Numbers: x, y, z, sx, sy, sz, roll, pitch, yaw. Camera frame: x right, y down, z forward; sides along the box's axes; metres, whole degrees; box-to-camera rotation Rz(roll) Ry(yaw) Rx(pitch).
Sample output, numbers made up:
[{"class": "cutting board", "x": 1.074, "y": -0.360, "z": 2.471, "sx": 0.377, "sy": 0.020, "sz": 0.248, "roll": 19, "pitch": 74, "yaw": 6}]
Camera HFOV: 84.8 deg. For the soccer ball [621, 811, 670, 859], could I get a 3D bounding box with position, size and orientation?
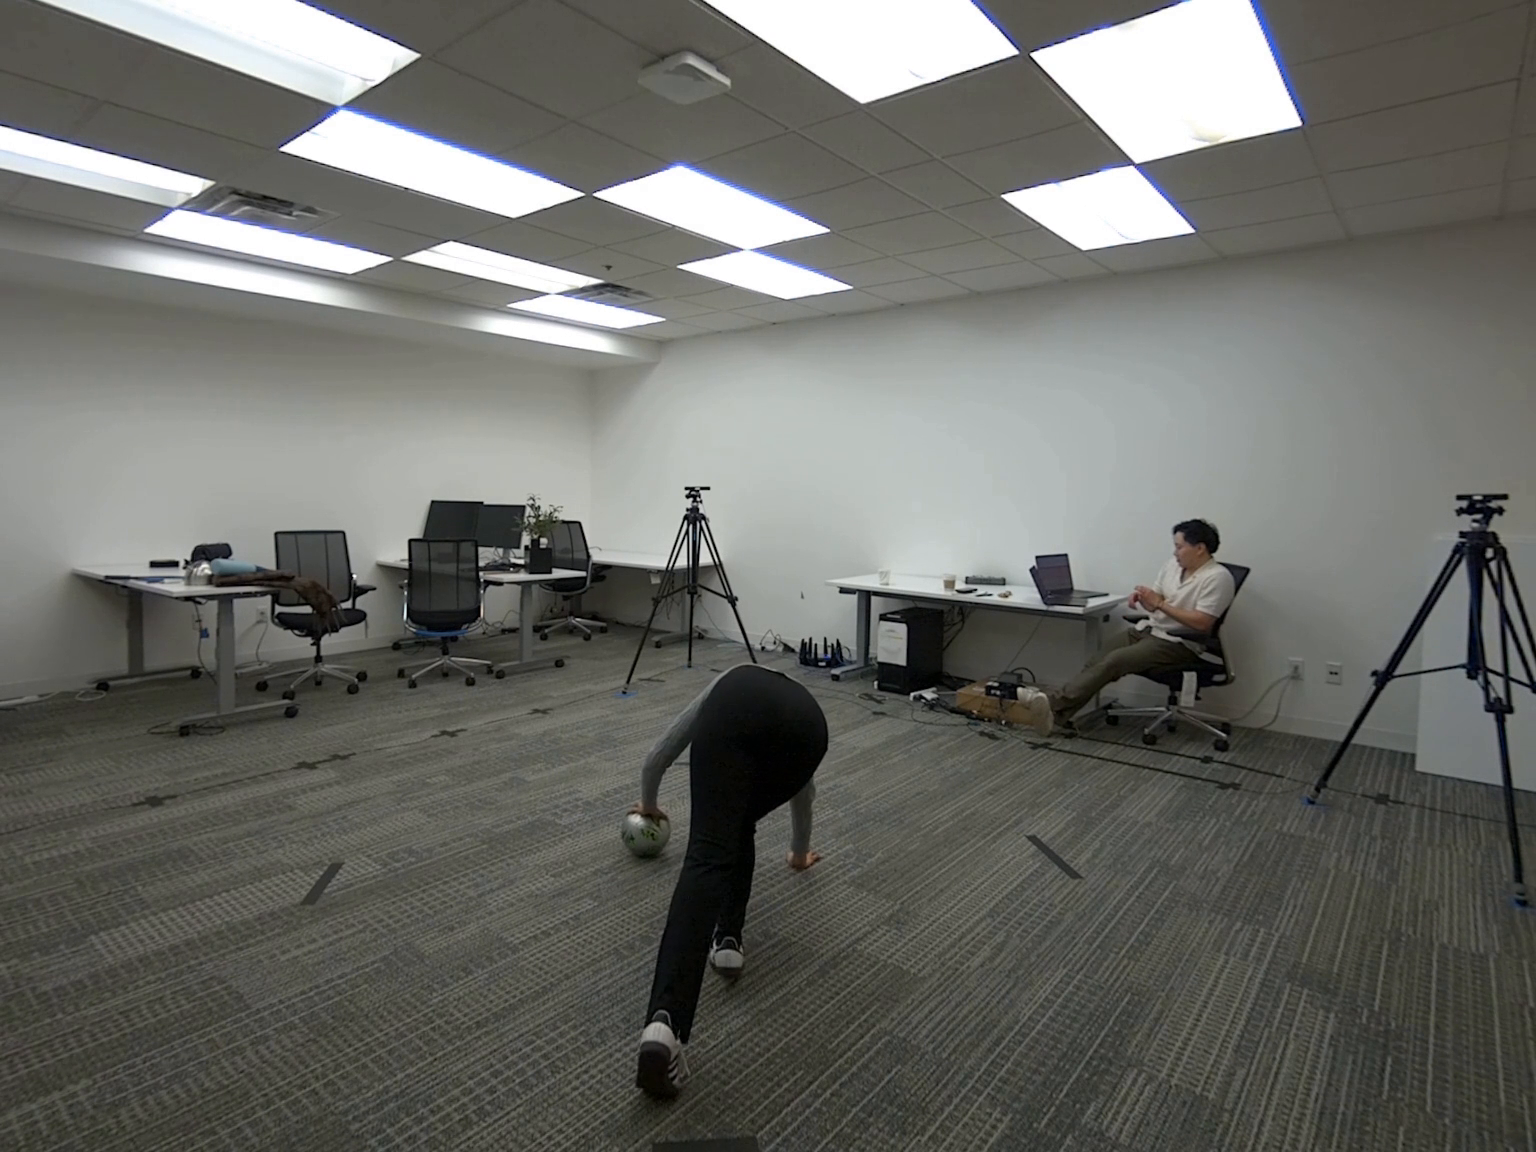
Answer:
[{"class": "soccer ball", "x": -0.471, "y": 0.959, "z": 3.214, "sx": 0.187, "sy": 0.187, "sz": 0.188, "roll": 1, "pitch": 4, "yaw": -2}]
